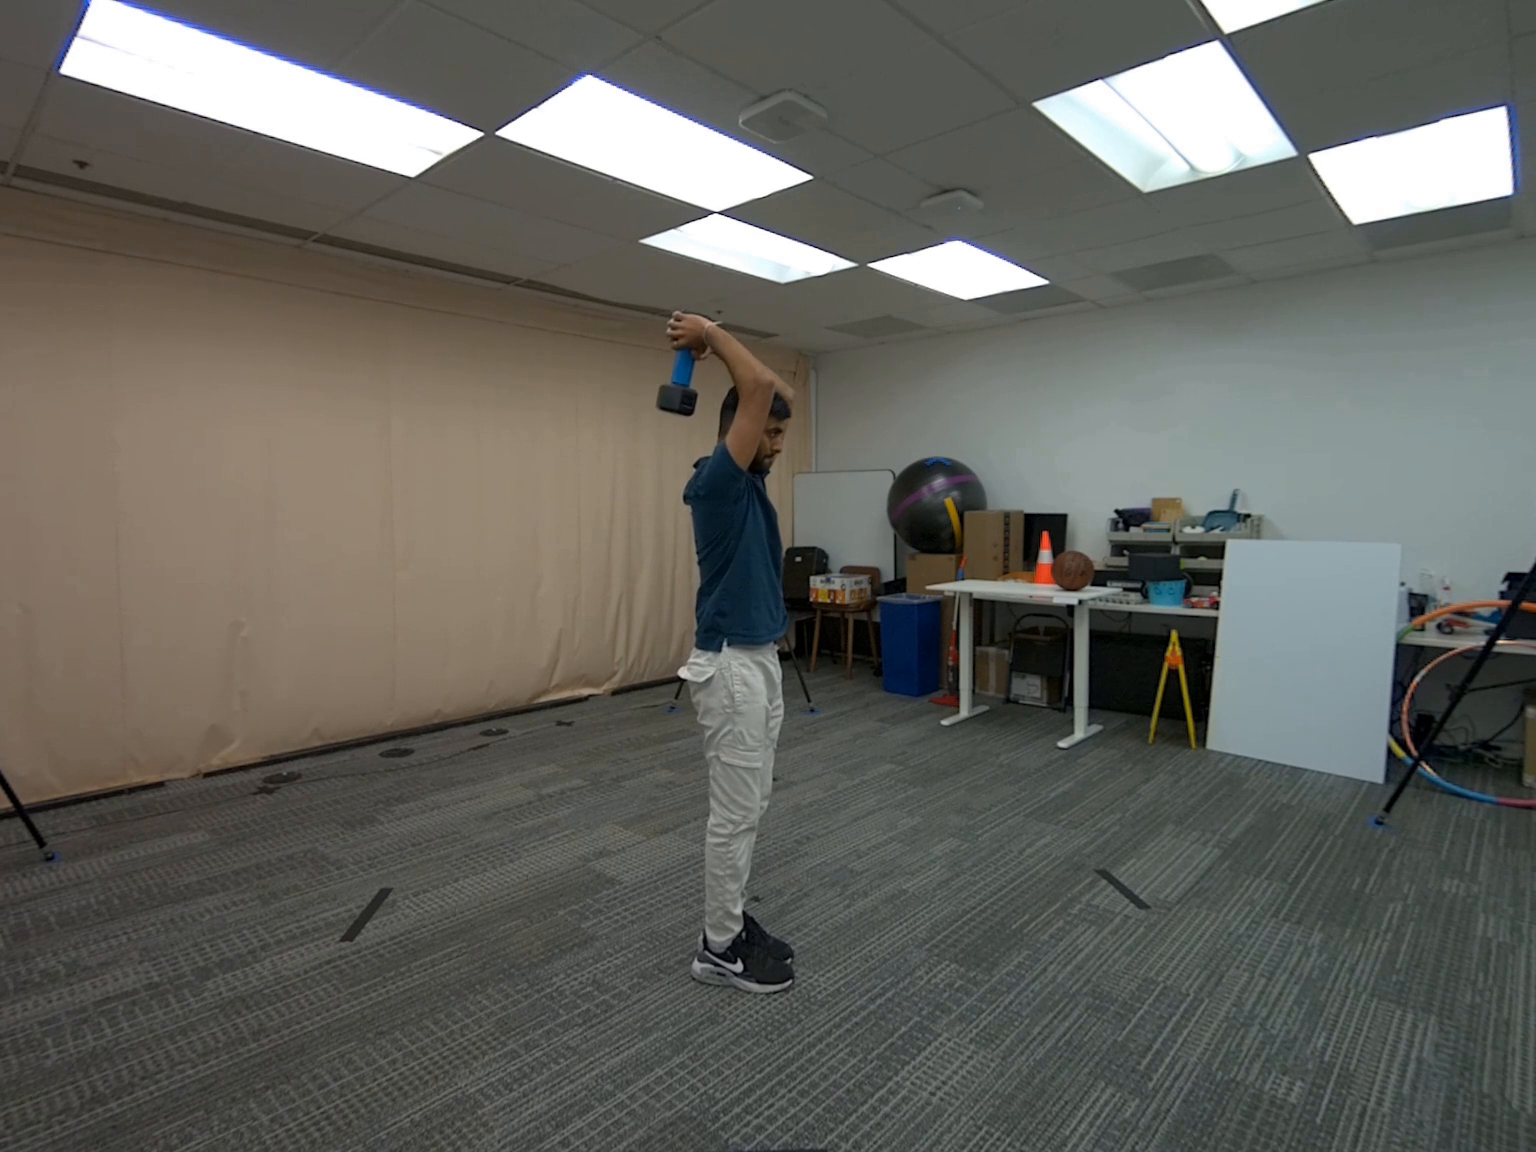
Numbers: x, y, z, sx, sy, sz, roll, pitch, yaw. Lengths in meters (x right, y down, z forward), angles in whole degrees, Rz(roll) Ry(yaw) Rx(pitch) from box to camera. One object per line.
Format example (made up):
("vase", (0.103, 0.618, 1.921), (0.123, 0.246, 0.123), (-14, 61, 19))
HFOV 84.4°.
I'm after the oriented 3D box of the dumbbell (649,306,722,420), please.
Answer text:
("dumbbell", (-0.239, -0.613, 2.449), (0.125, 0.292, 0.107), (15, 11, 15))
